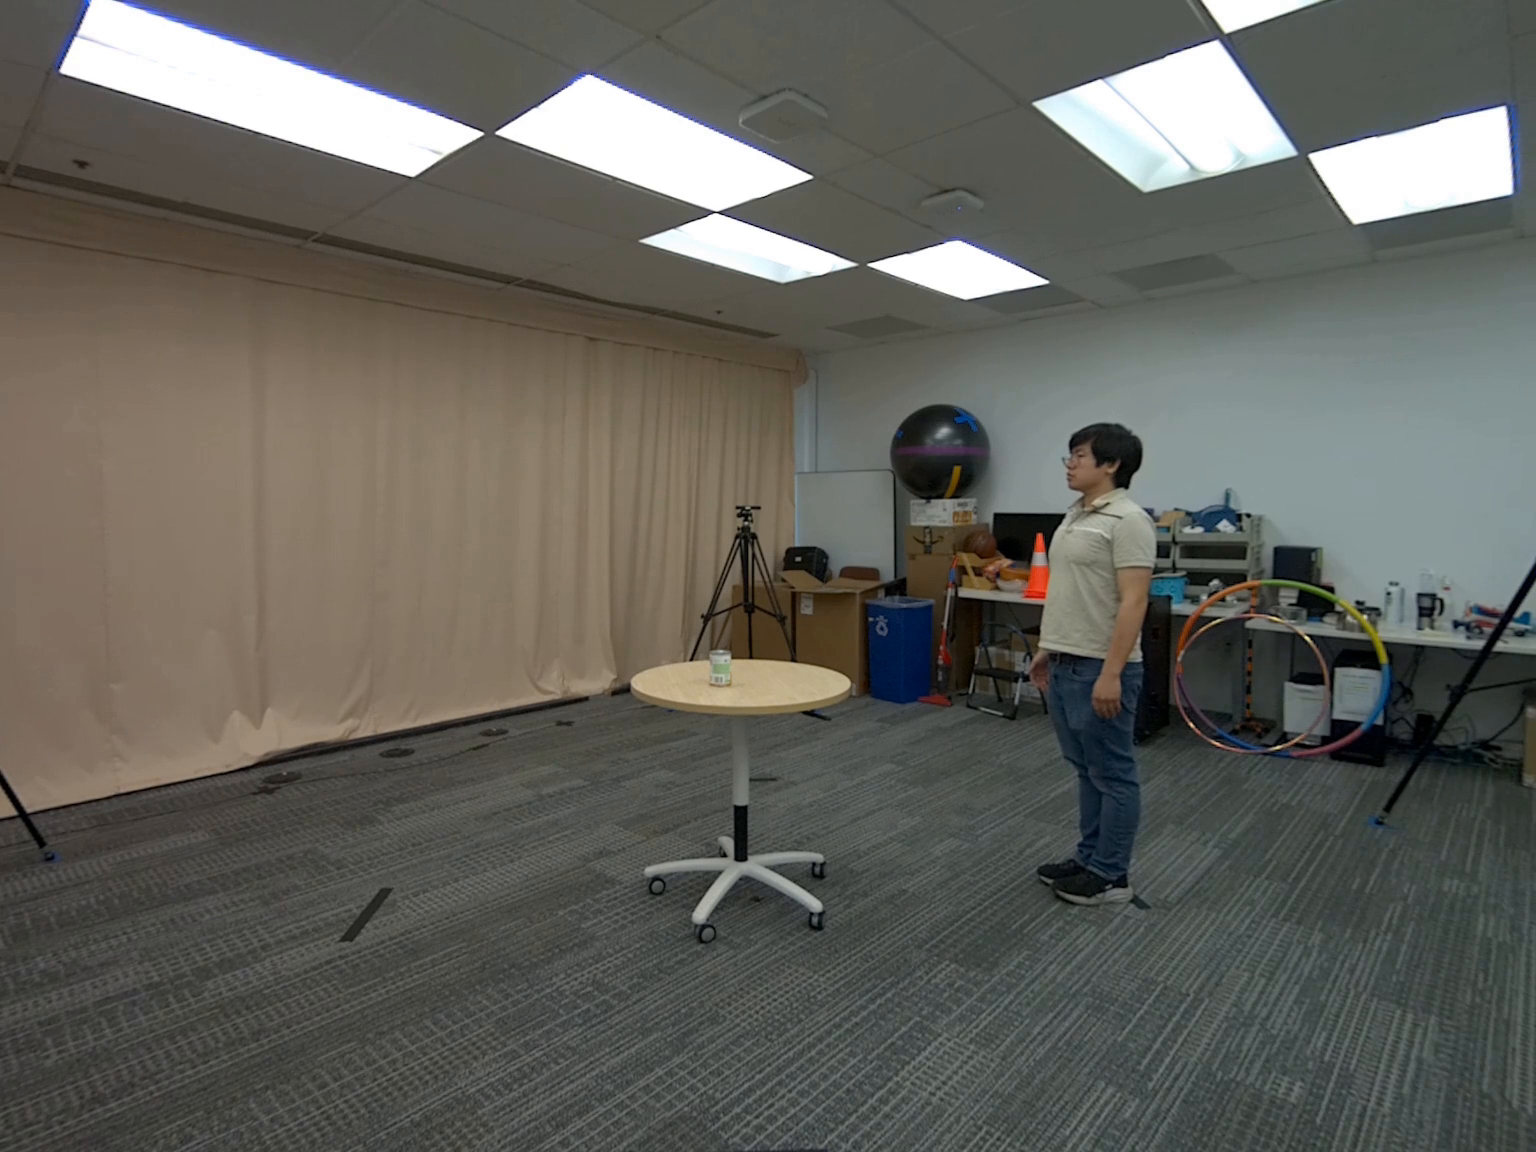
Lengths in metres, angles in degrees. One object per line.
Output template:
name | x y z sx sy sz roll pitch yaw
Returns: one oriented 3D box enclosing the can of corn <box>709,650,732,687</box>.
can of corn | -0.160 0.321 2.865 0.074 0.111 0.074 -1 2 -2
